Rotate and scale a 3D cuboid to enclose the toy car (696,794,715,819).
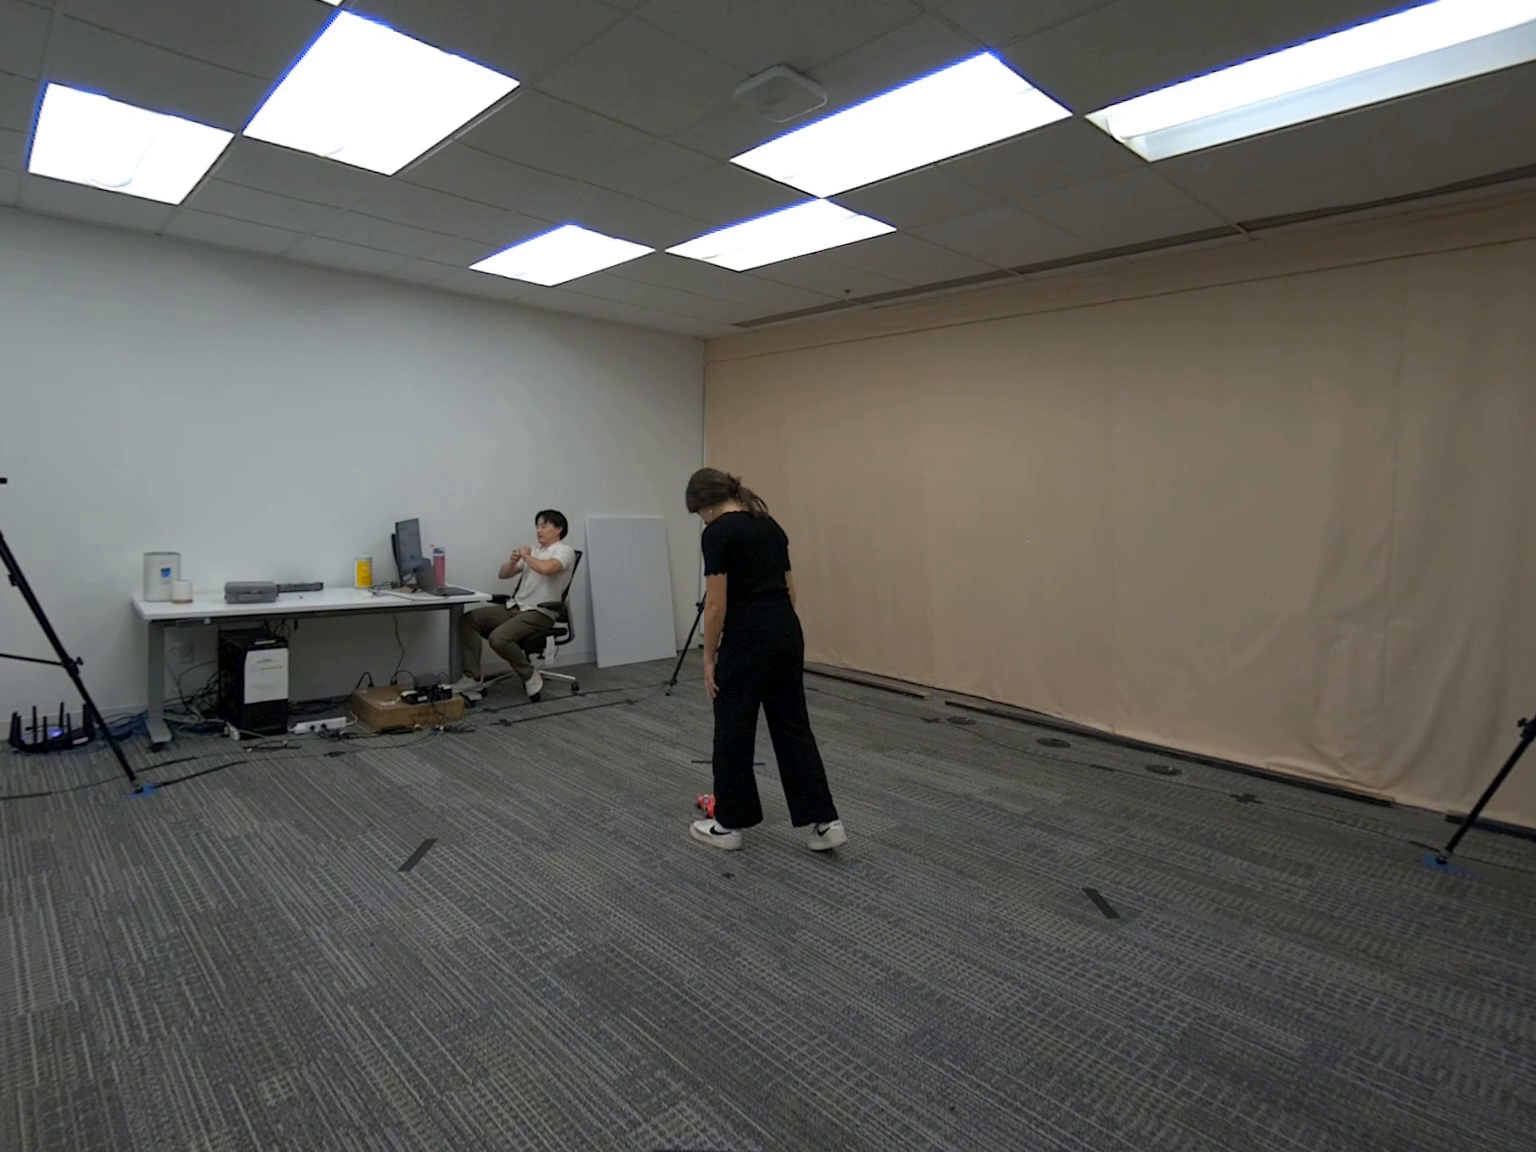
[{"bbox_3d":[-0.240,1.019,3.717,0.128,0.083,0.257,0,-5,-20],"label":"toy car"}]
